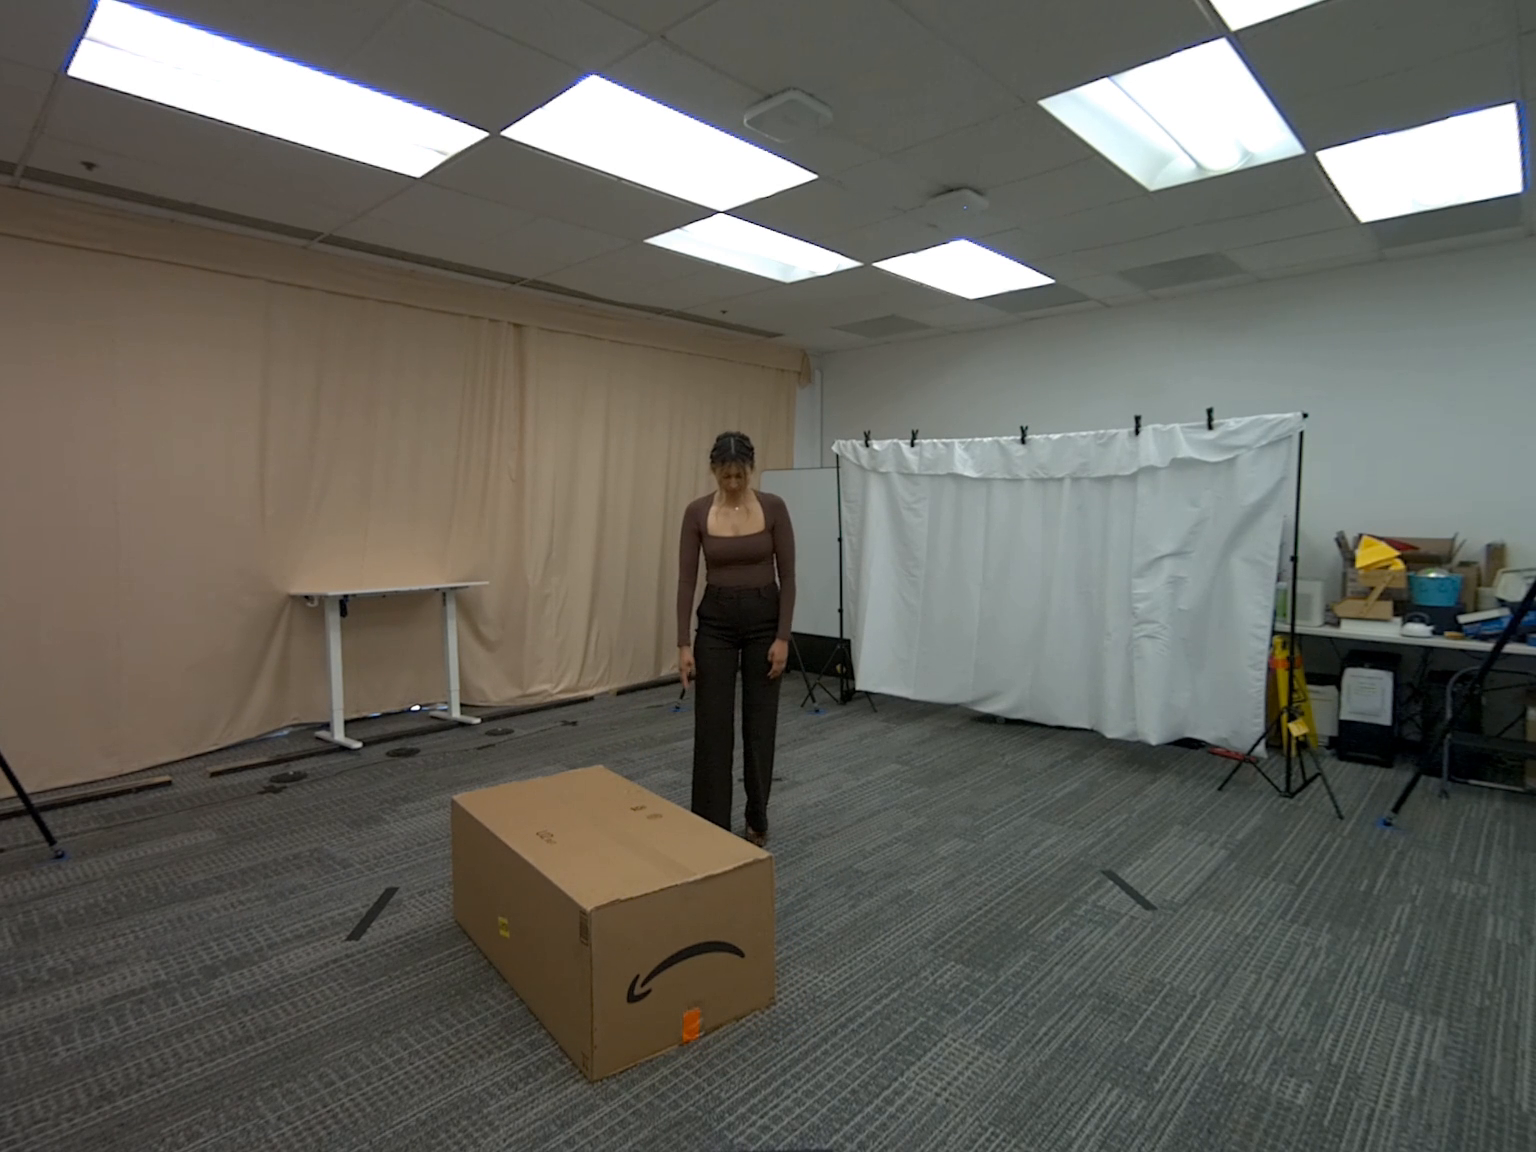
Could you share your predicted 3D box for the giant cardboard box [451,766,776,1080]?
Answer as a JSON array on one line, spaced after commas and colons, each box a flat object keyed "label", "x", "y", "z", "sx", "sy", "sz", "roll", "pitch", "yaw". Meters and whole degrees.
[{"label": "giant cardboard box", "x": -0.528, "y": 0.971, "z": 2.595, "sx": 0.567, "sy": 0.446, "sz": 1.060, "roll": -4, "pitch": 5, "yaw": -37}]
